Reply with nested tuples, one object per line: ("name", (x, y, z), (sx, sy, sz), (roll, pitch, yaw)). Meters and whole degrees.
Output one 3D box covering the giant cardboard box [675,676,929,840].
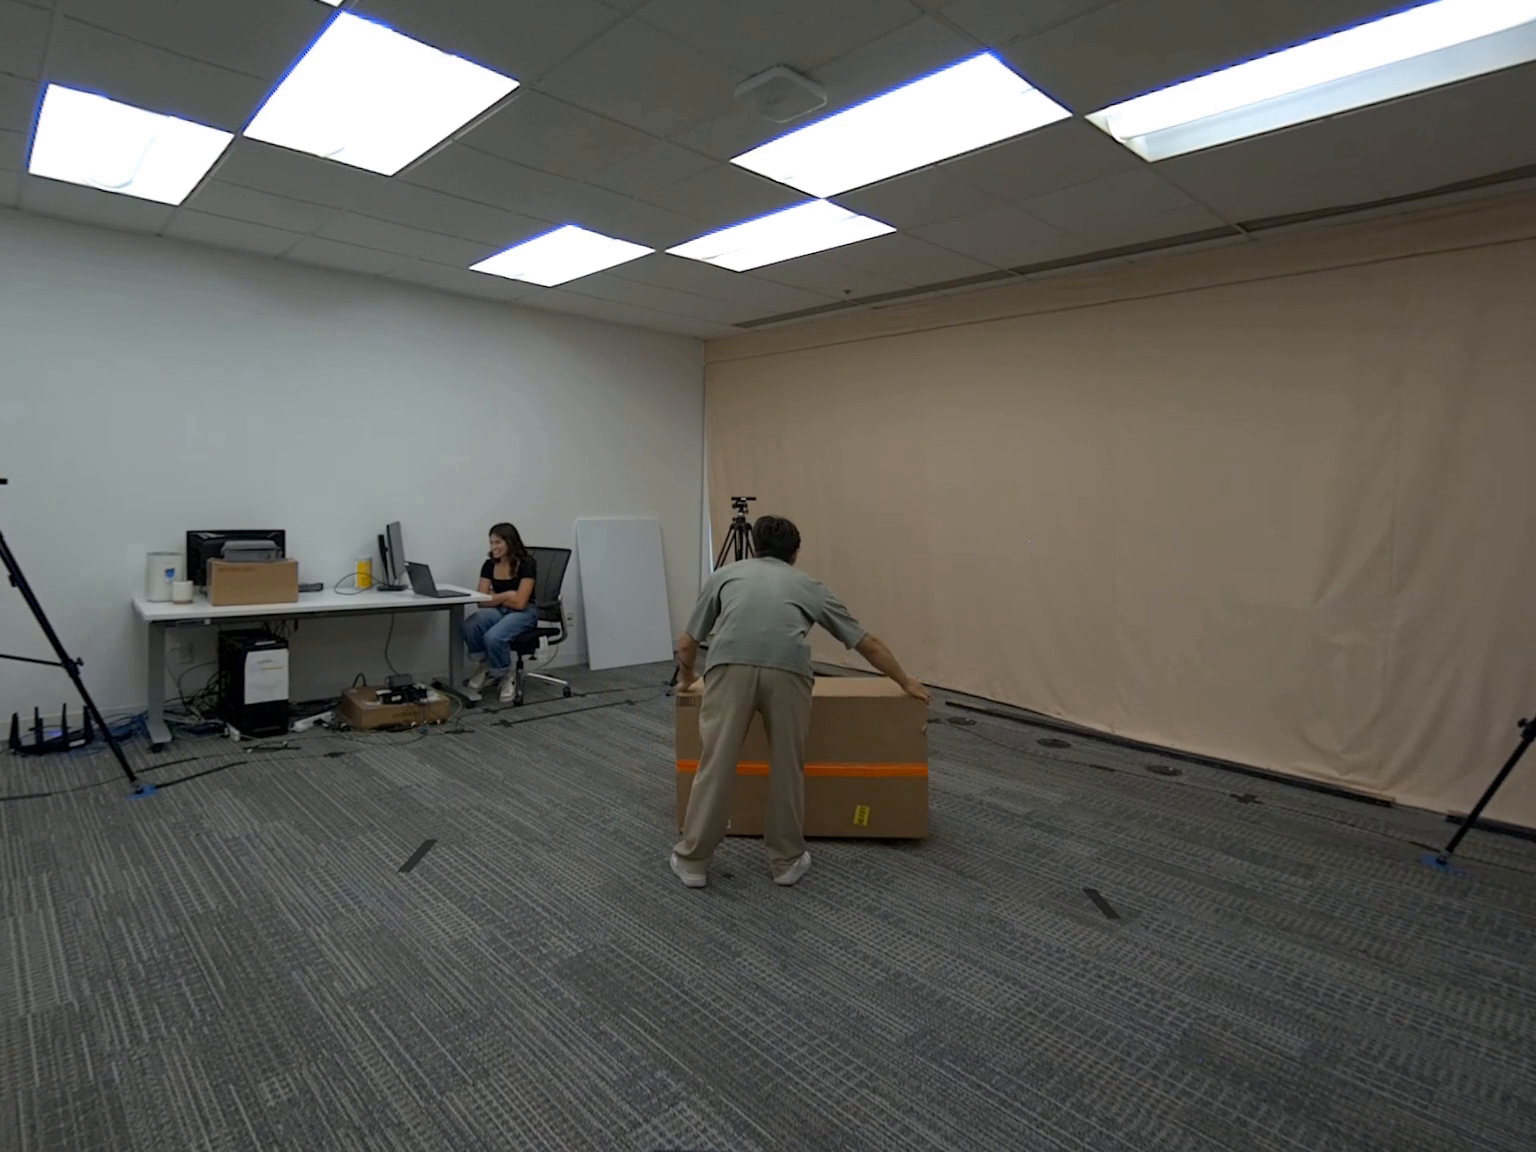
("giant cardboard box", (0.140, 0.742, 3.622), (1.030, 0.576, 0.425), (-1, 4, 5))
